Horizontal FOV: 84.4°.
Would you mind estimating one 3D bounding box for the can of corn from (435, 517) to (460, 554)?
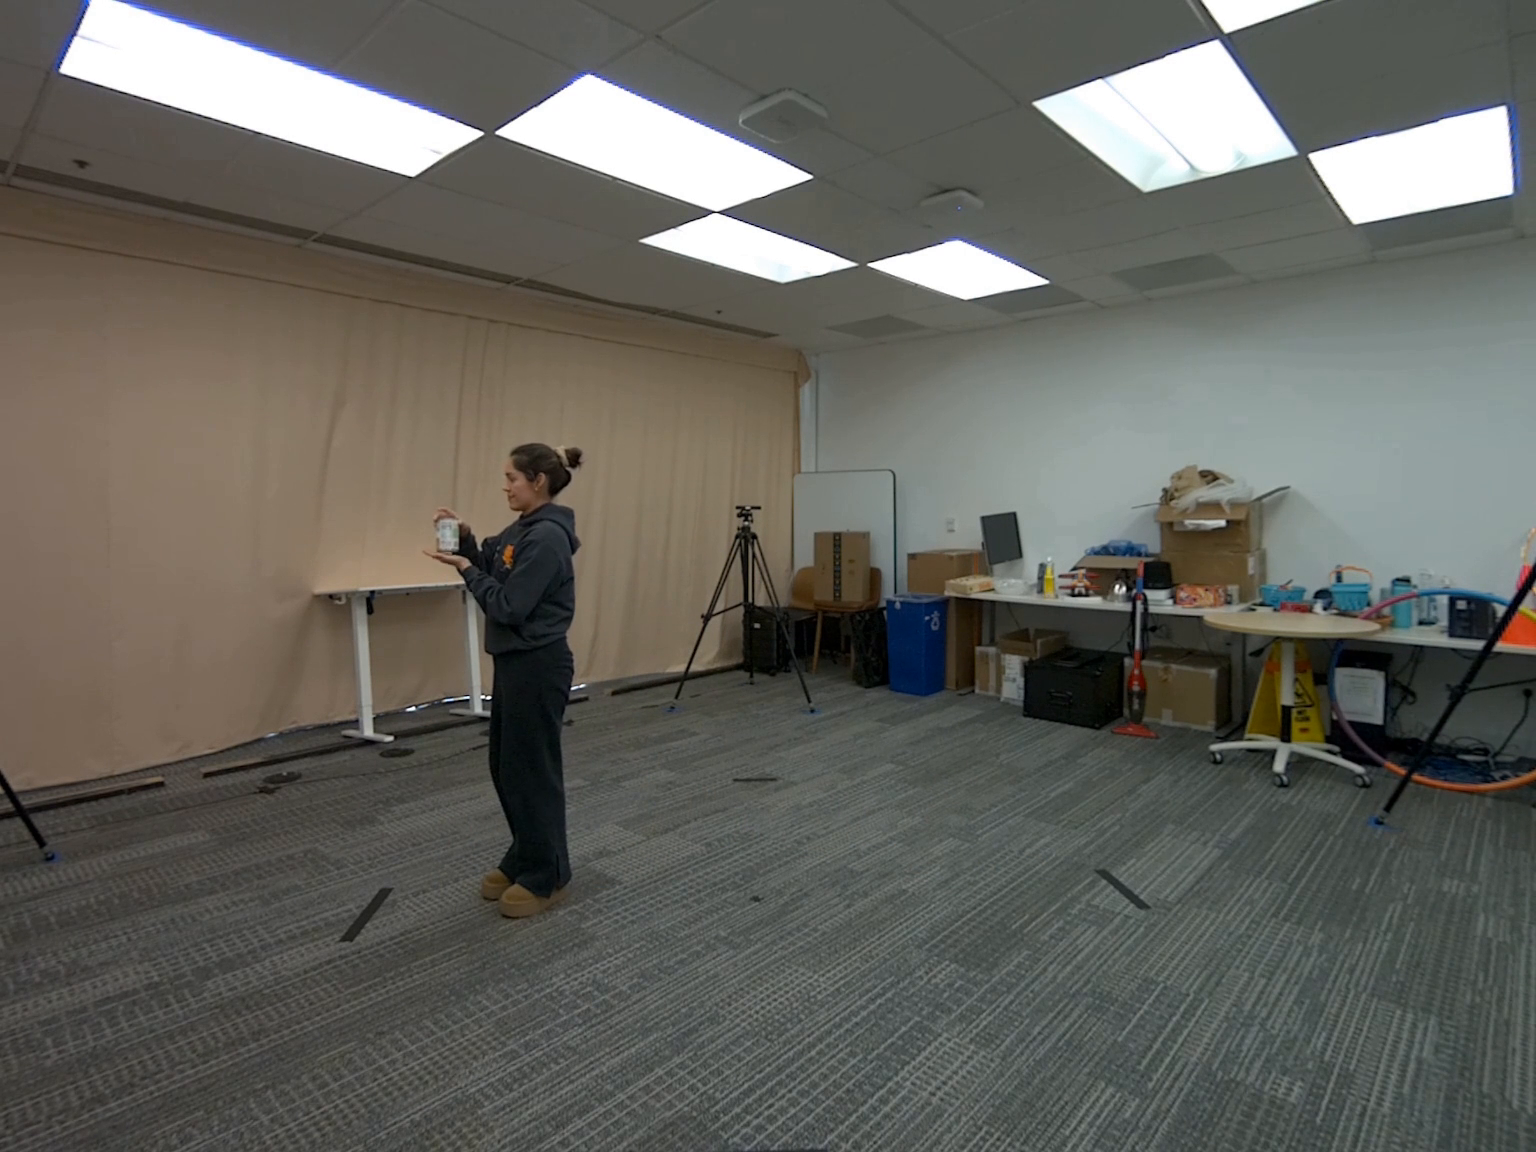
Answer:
[{"bbox_3d":[-1.093,-0.135,2.894,0.074,0.111,0.074,-1,-1,-2],"label":"can of corn"}]
